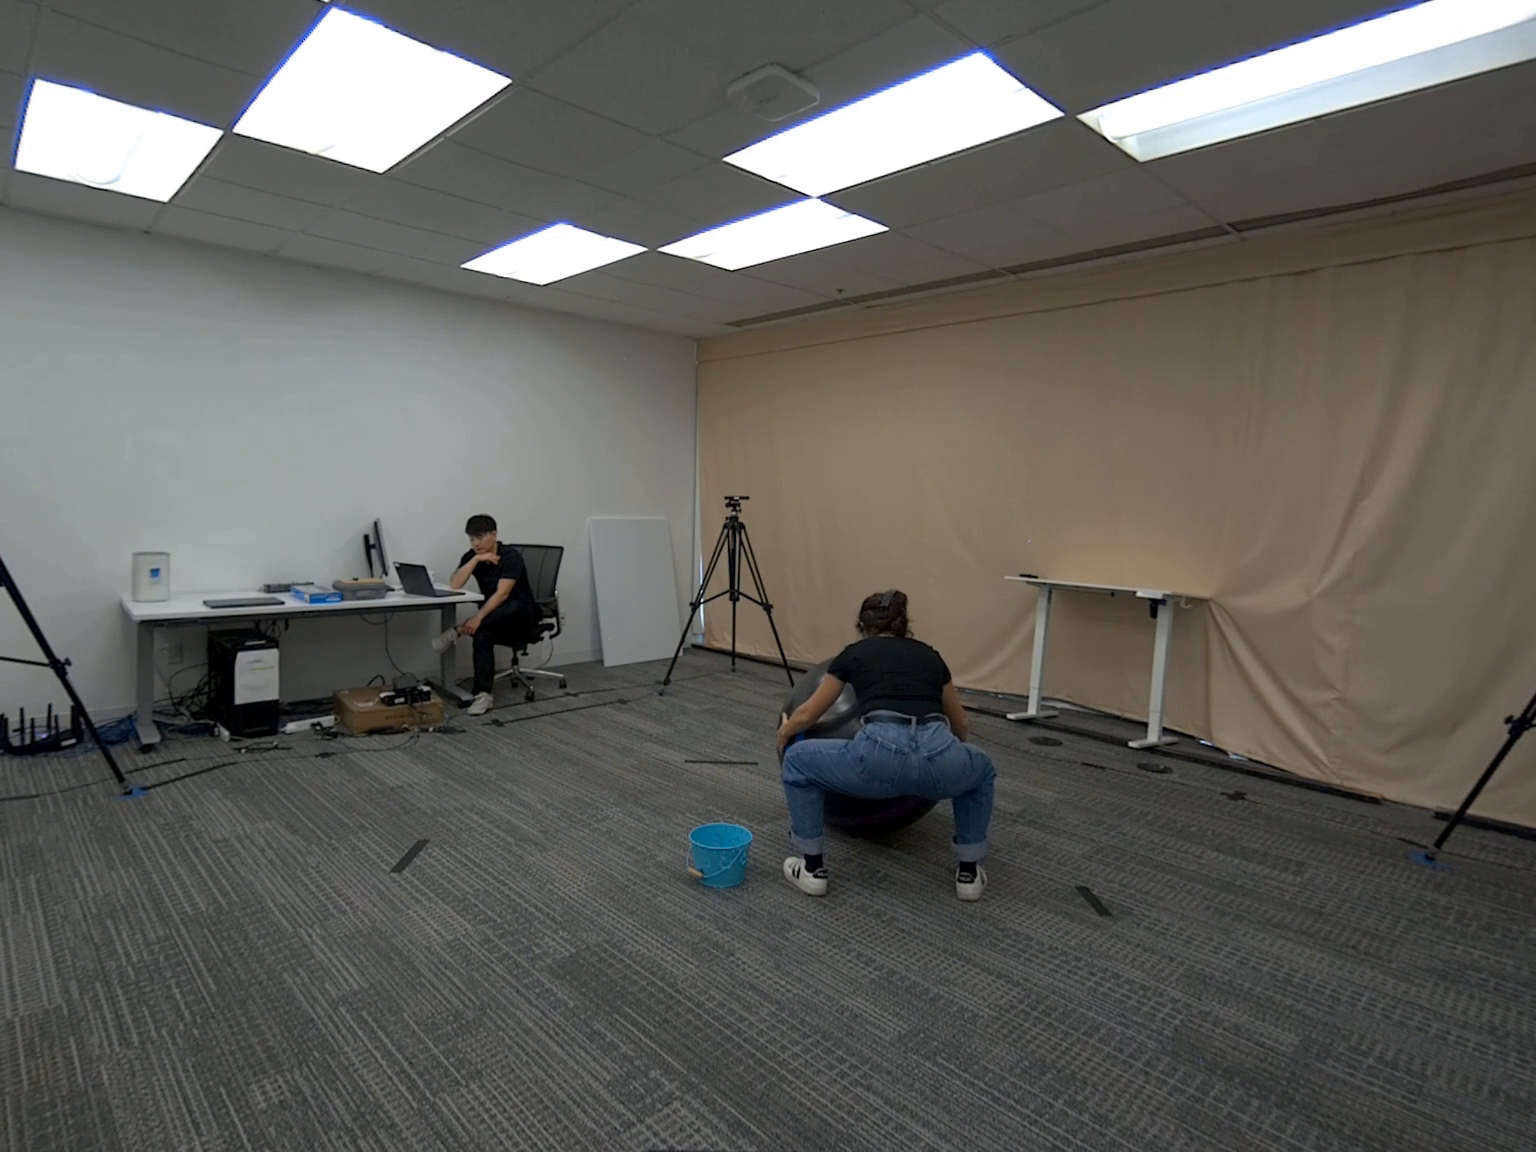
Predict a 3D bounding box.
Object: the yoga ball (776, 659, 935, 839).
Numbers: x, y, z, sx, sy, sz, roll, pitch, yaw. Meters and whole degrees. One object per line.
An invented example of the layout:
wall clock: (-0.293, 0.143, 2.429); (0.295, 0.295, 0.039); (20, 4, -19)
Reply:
yoga ball: (0.421, 0.709, 3.587); (0.757, 0.756, 0.760); (1, 4, -1)
